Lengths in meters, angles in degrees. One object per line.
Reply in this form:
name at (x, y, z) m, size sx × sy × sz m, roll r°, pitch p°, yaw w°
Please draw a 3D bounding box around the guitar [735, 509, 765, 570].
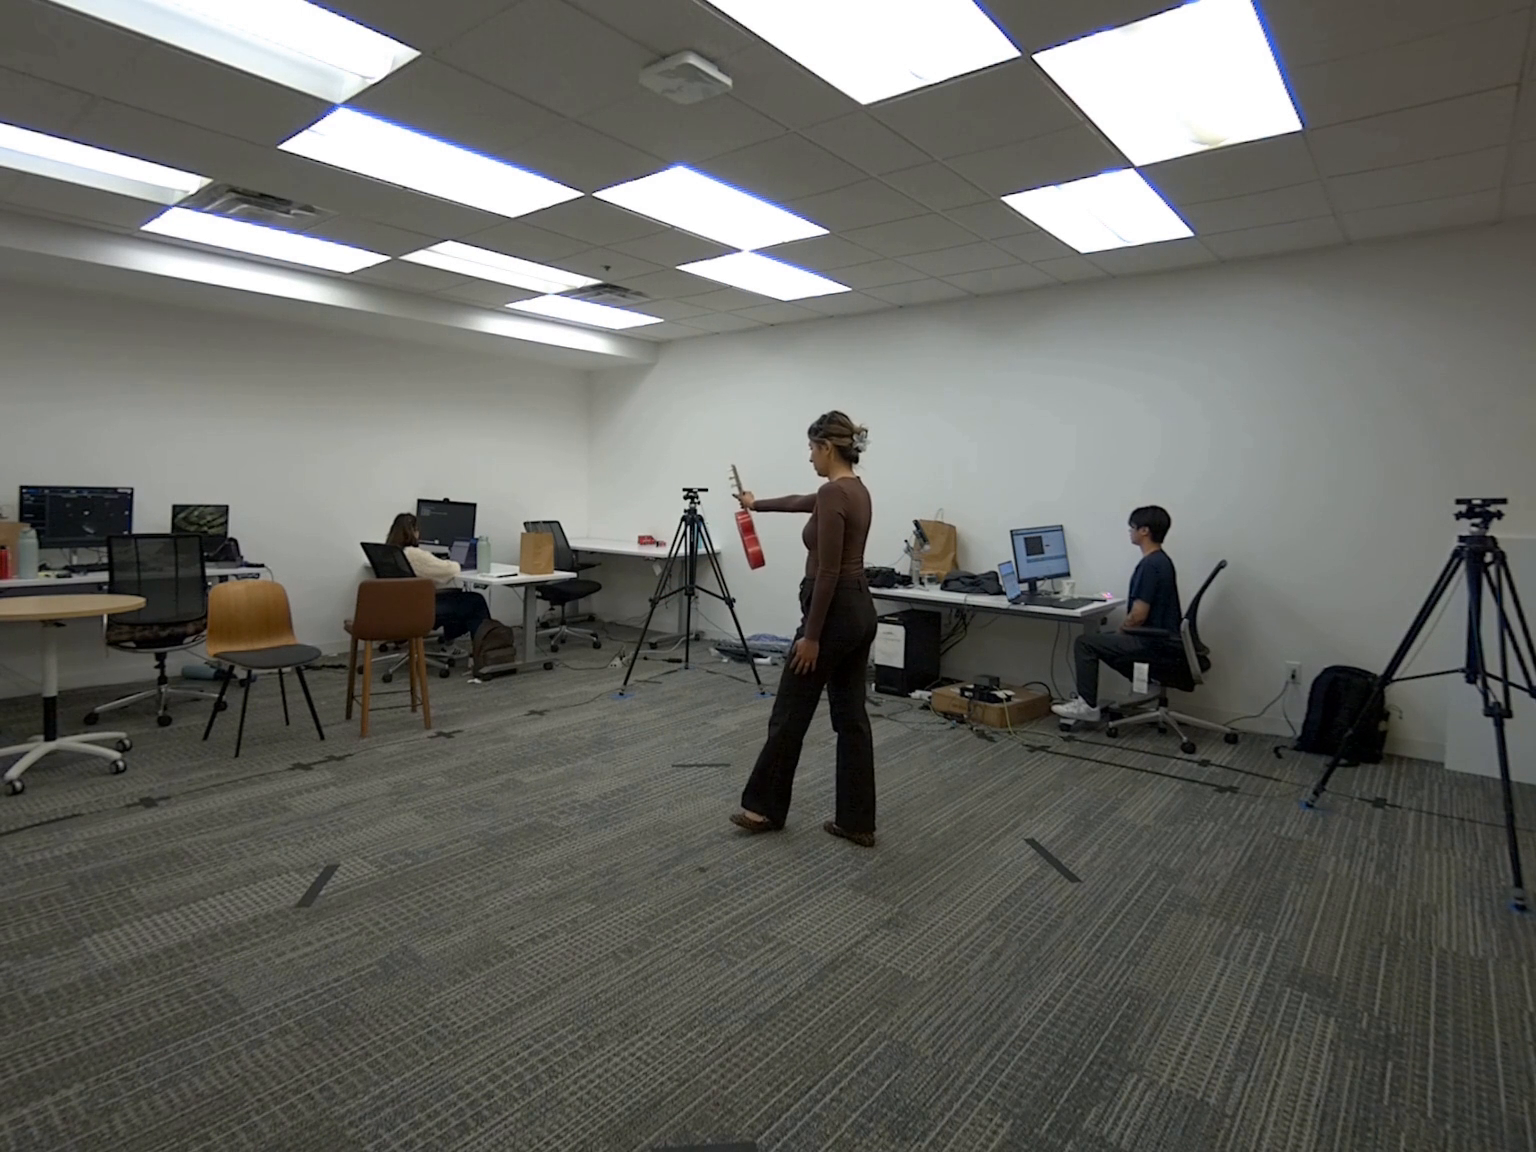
guitar at (-0.126, -0.278, 3.988) m, size 0.070 × 0.505 × 0.191 m, roll -18°, pitch -10°, yaw -6°
